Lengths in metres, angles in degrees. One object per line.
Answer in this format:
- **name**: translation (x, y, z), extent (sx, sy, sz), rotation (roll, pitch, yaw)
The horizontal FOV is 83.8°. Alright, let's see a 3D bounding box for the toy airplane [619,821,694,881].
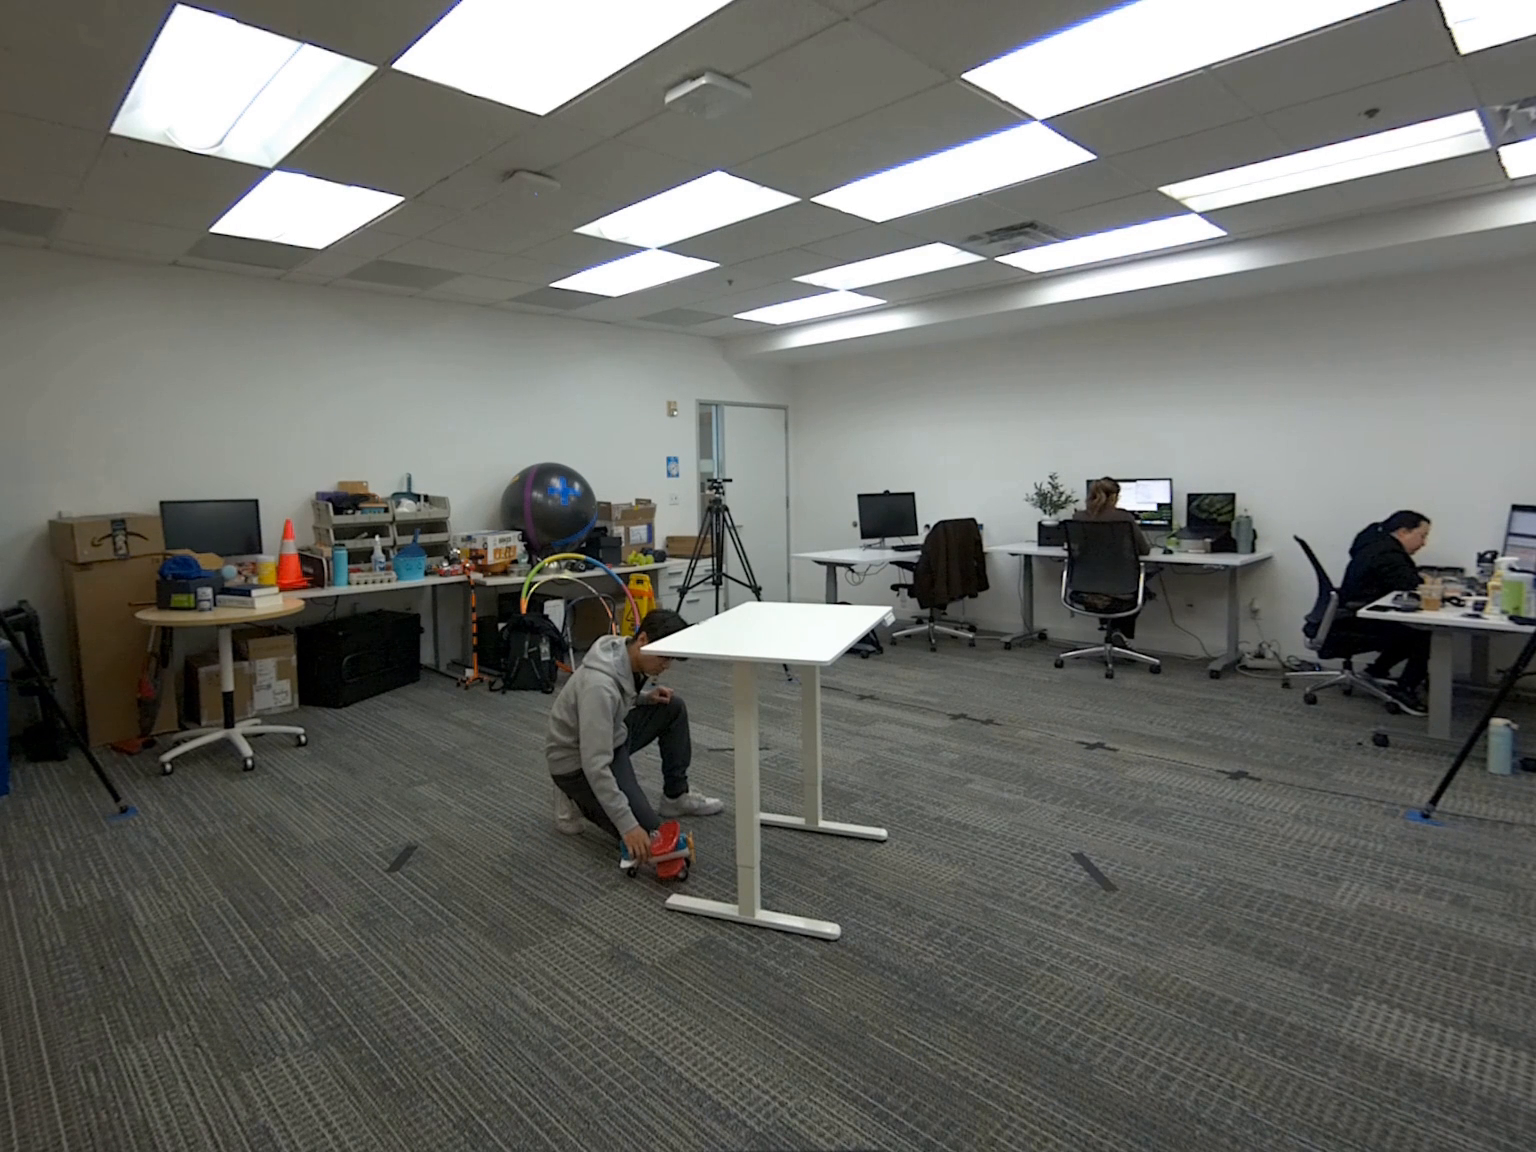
- **toy airplane**: translation (-0.385, 0.989, 3.003), extent (0.253, 0.156, 0.258), rotation (-3, 6, -27)
